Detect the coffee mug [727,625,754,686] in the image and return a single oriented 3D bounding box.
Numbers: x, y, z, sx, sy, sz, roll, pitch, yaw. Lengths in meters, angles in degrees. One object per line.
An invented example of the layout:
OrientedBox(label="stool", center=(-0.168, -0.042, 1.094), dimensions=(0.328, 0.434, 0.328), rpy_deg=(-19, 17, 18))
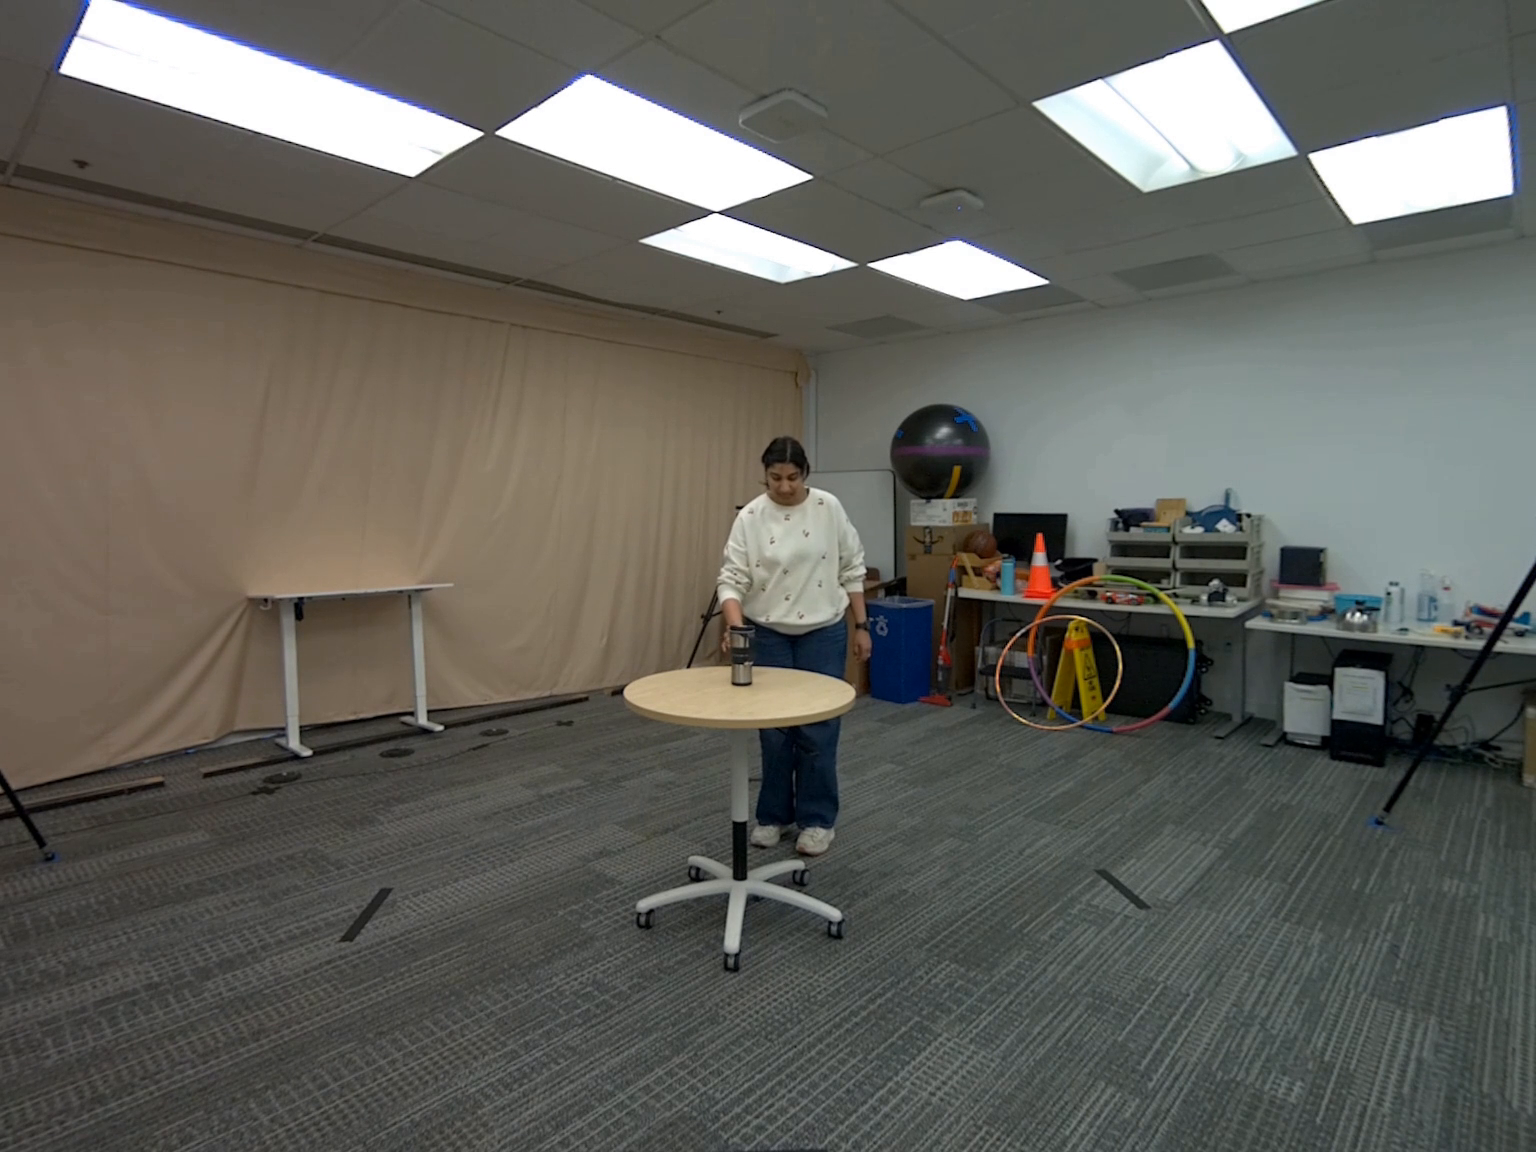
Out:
OrientedBox(label="coffee mug", center=(-0.105, 0.272, 2.860), dimensions=(0.090, 0.203, 0.118), rpy_deg=(4, 1, 32))
